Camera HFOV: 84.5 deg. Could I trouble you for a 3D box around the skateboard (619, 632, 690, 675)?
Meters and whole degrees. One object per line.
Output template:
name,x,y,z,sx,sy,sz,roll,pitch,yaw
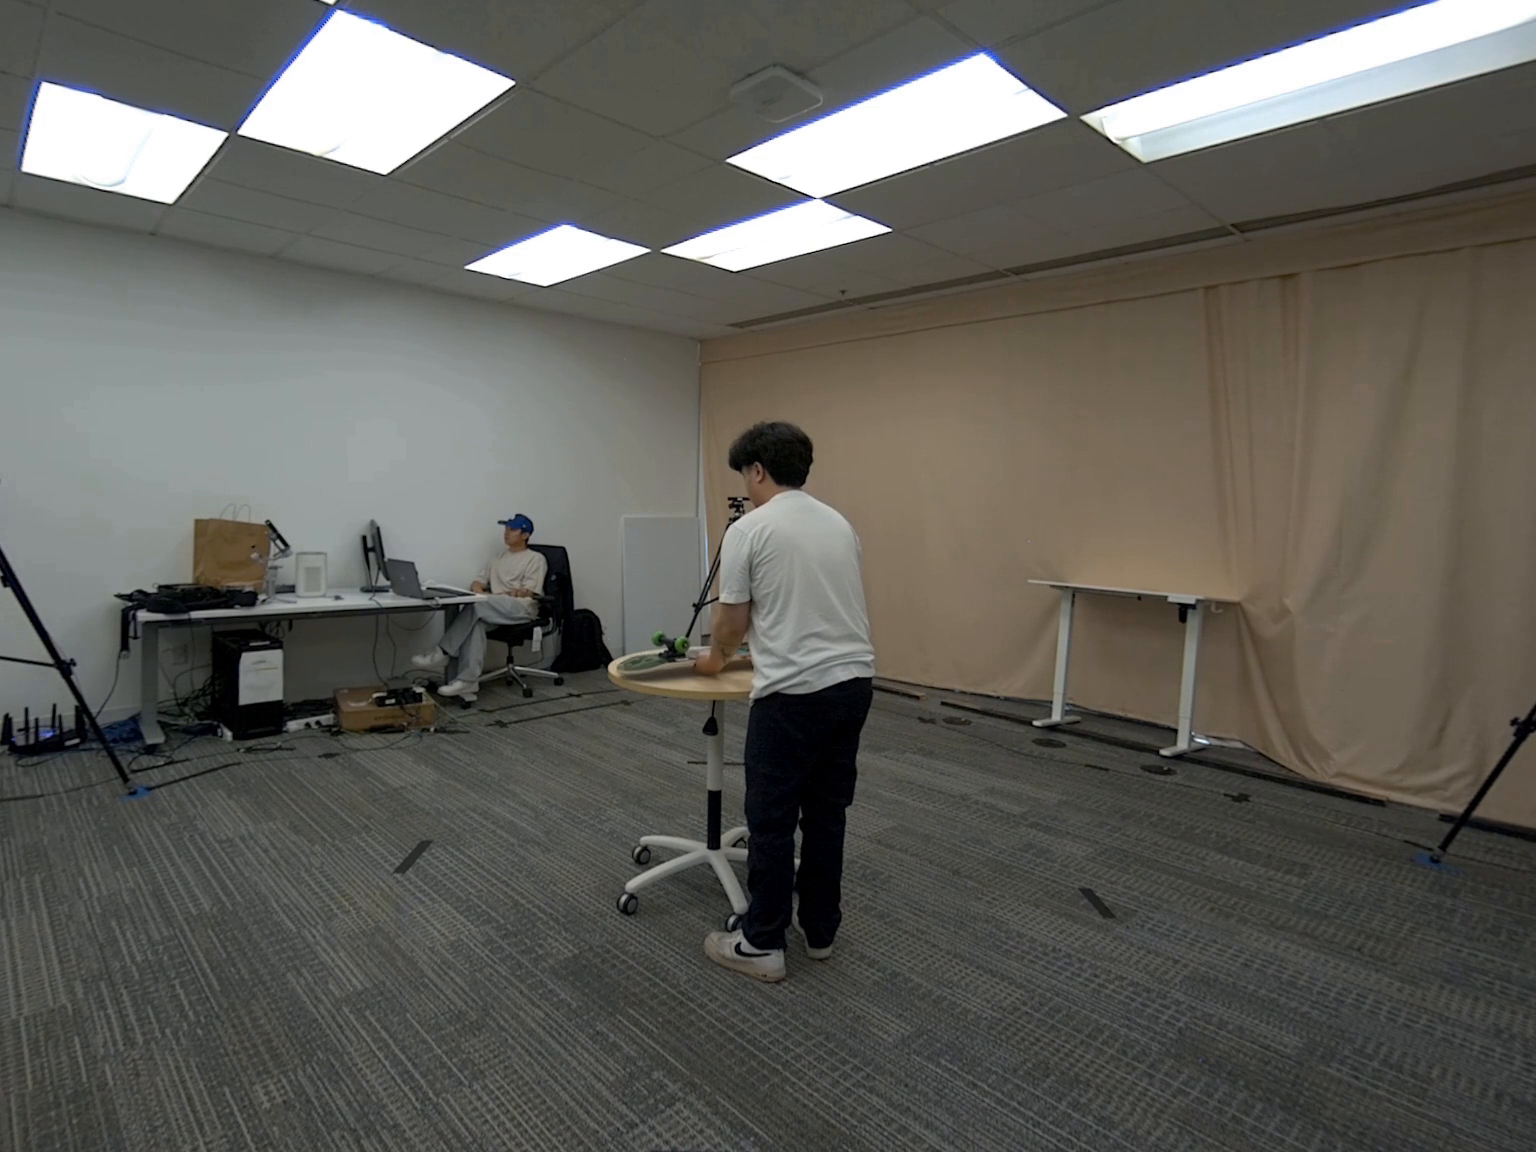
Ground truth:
skateboard,-0.174,0.247,2.965,0.769,0.110,0.198,-5,6,-35
